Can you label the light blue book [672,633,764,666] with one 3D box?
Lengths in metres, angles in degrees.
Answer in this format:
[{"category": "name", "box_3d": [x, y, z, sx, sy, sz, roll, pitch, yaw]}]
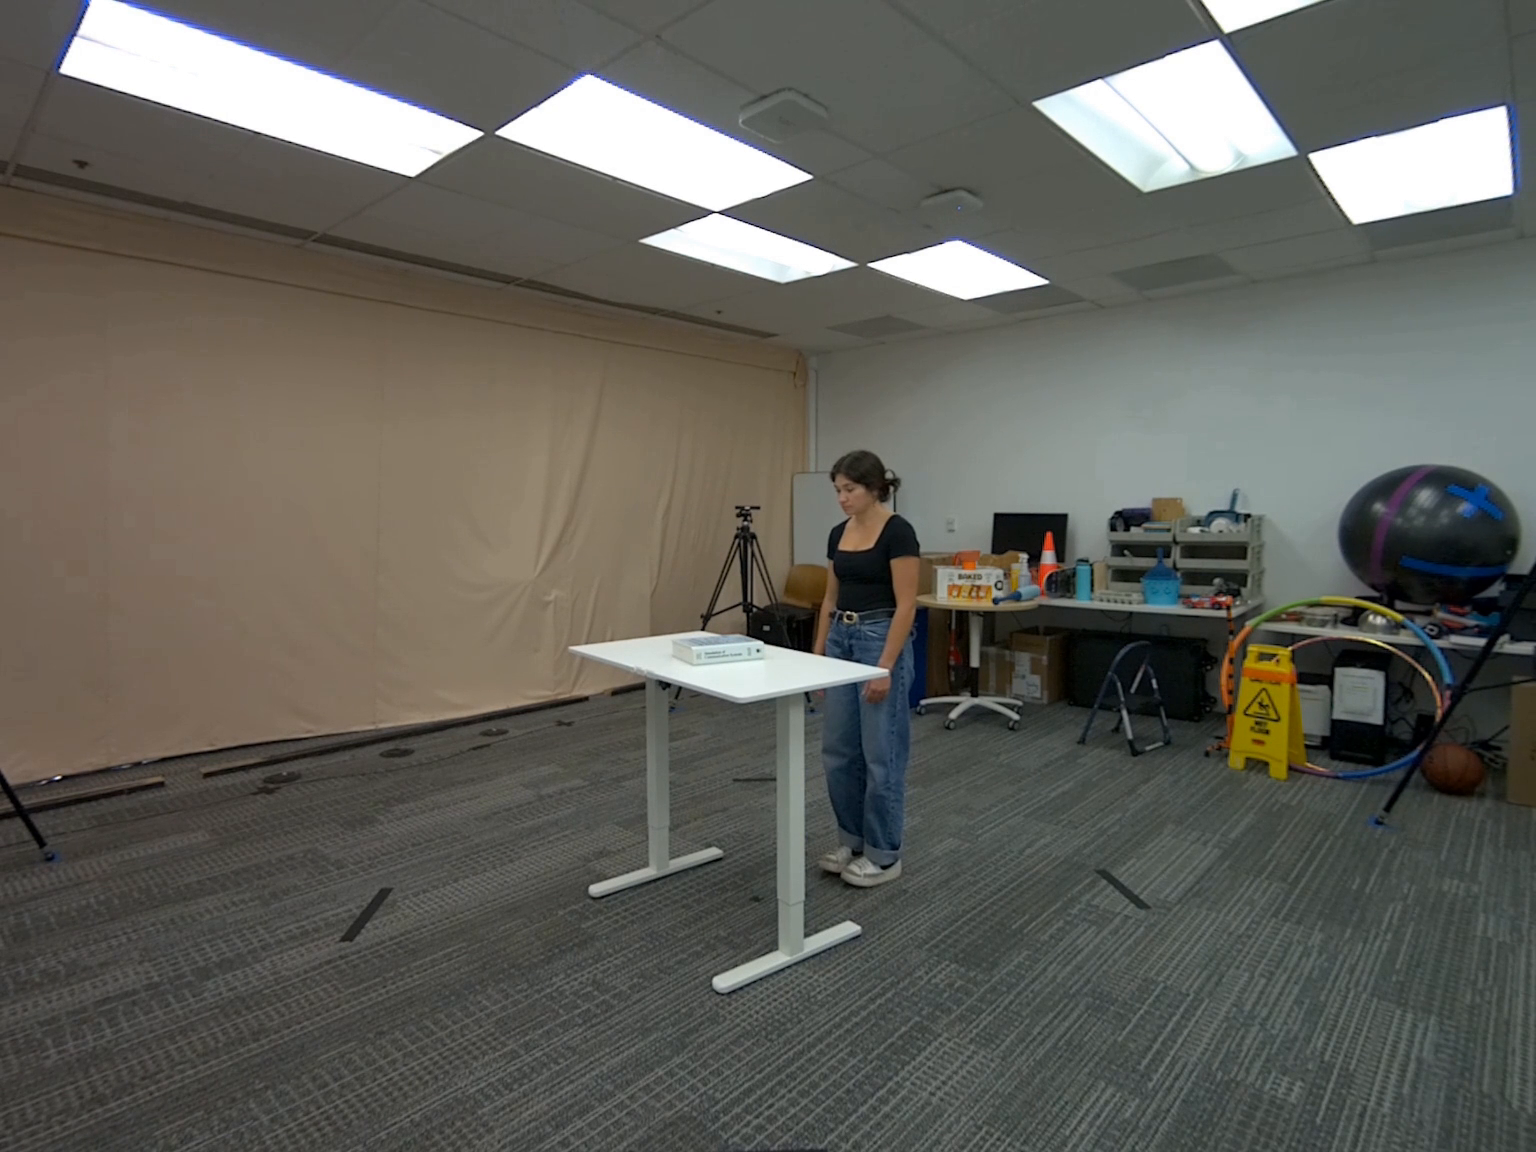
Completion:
[{"category": "light blue book", "box_3d": [-0.186, 0.246, 2.837, 0.254, 0.059, 0.197, -3, 6, -27]}]
